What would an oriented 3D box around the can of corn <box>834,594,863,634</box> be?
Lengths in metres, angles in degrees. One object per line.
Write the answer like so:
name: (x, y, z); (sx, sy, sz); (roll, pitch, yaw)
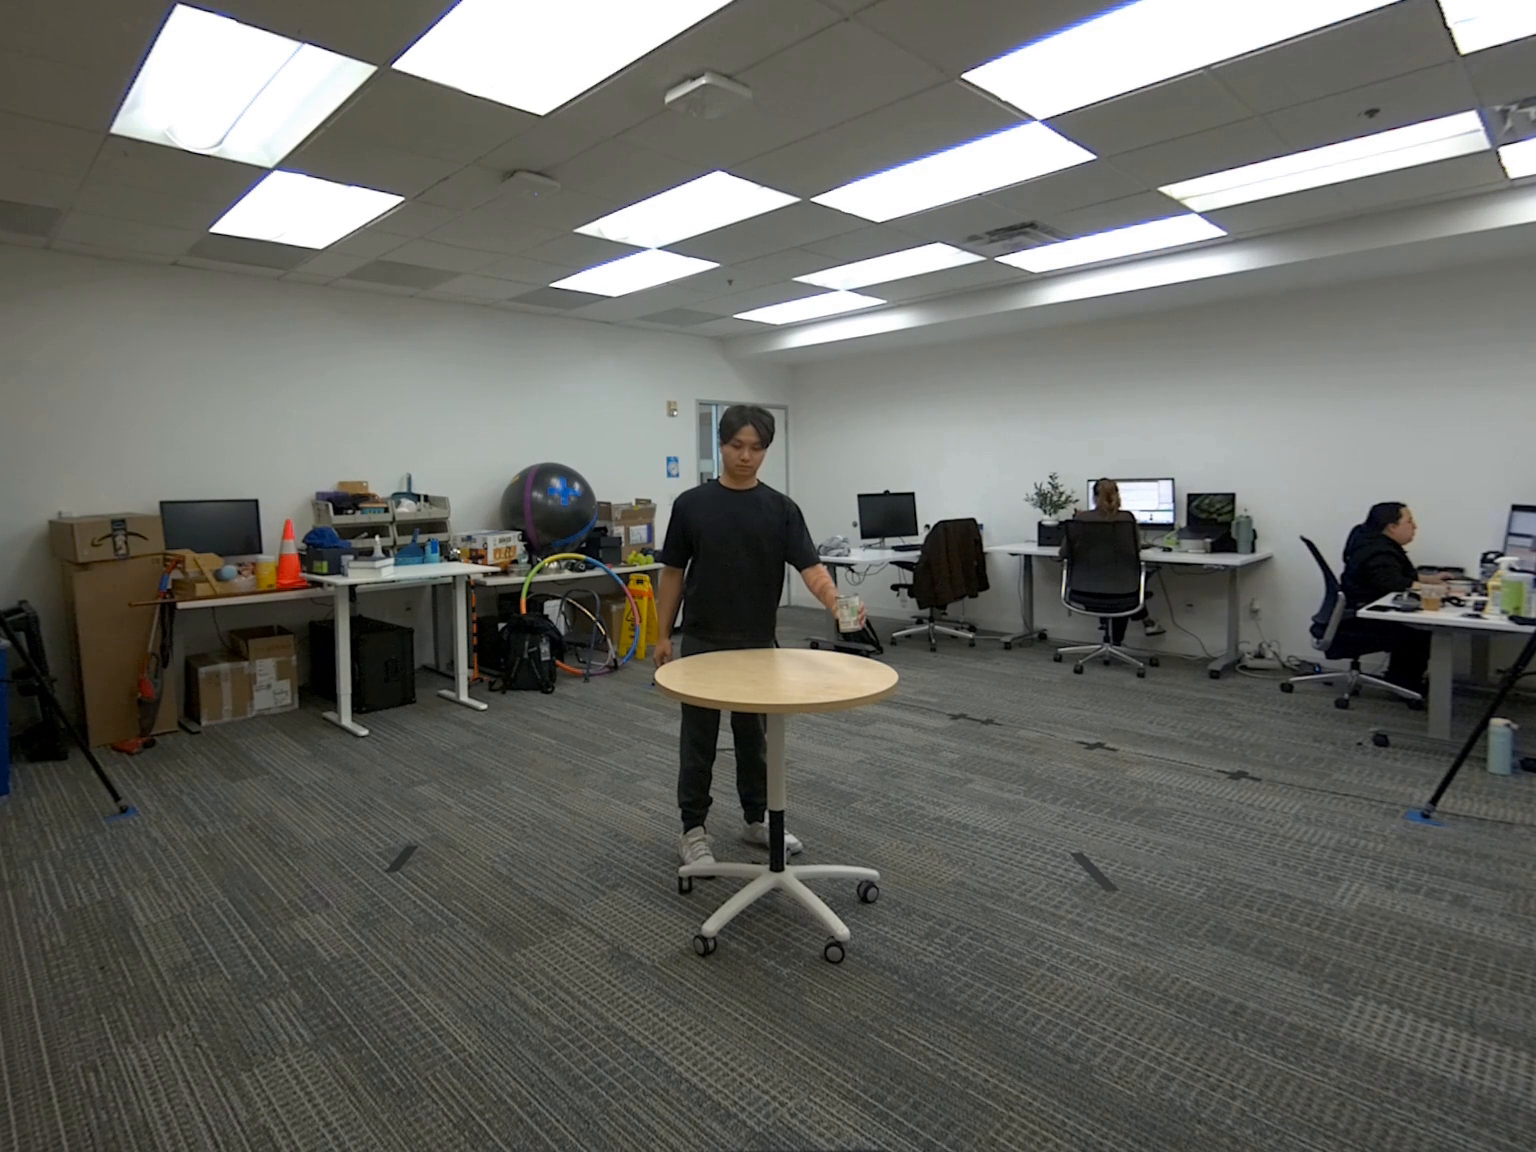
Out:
can of corn: (0.253, 0.123, 2.737); (0.074, 0.111, 0.074); (-5, -1, -2)
